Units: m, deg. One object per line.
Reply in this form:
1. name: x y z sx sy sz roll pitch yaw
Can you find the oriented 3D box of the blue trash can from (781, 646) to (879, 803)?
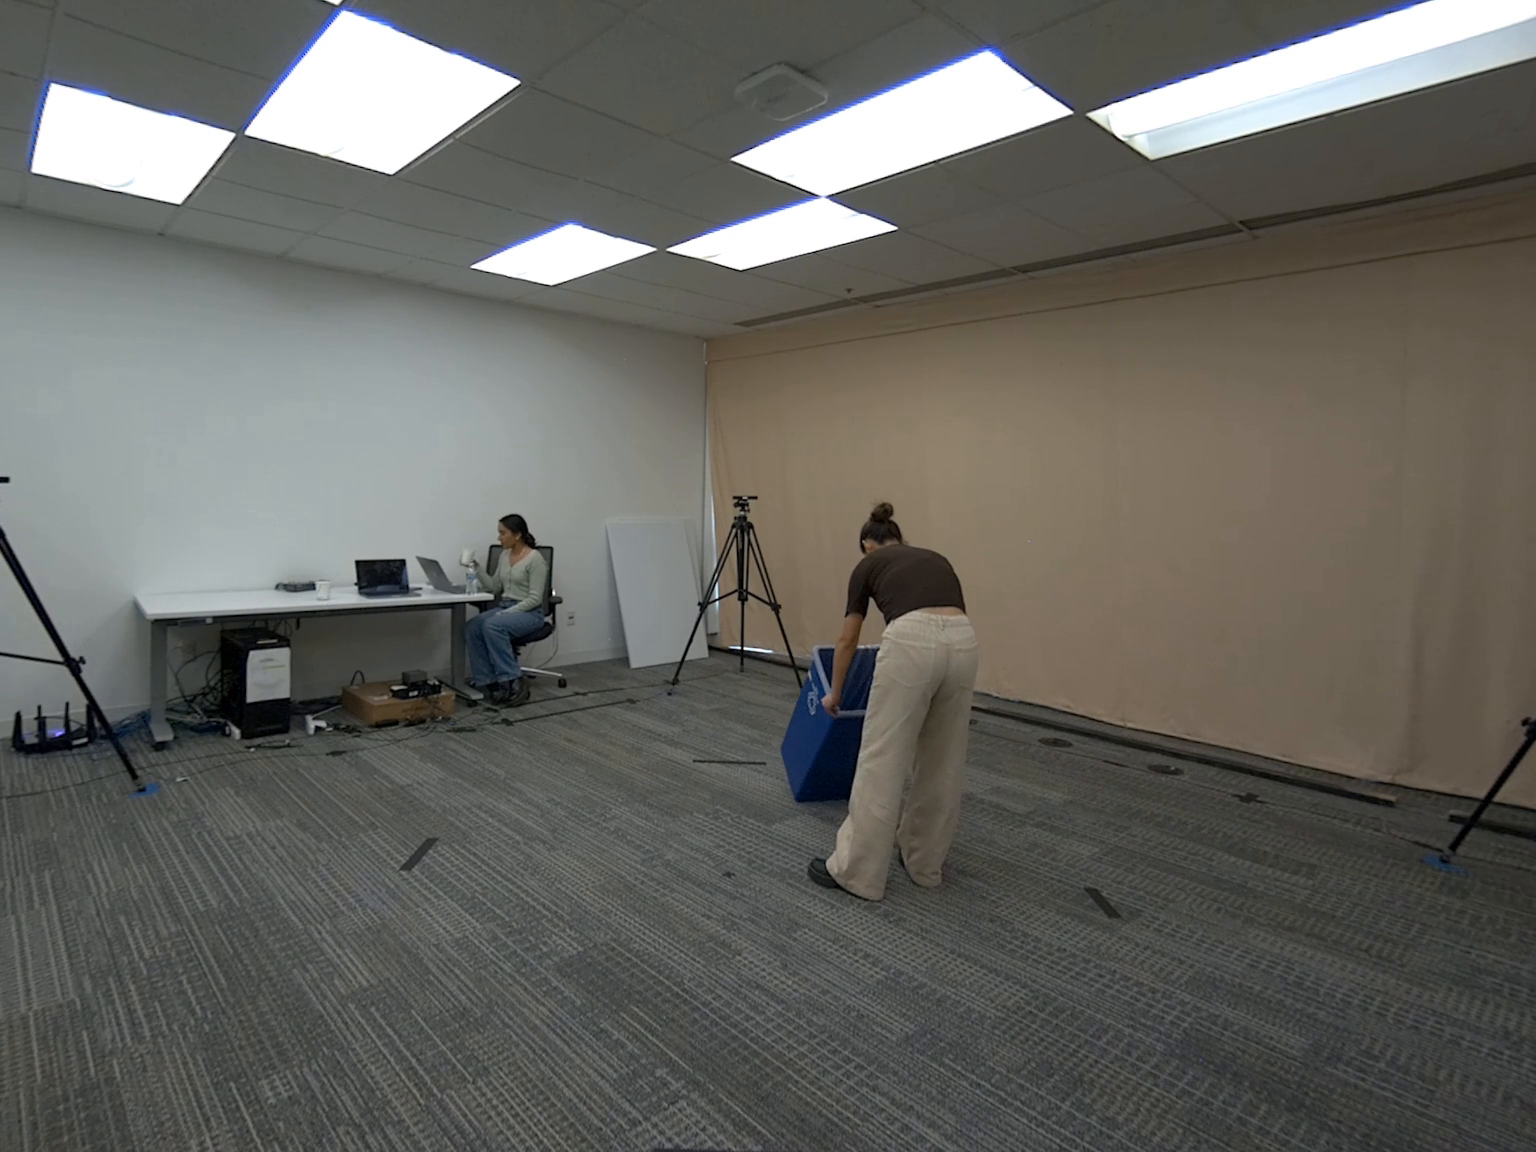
1. blue trash can: 0.305 0.687 3.774 0.373 0.703 0.385 0 43 -19
